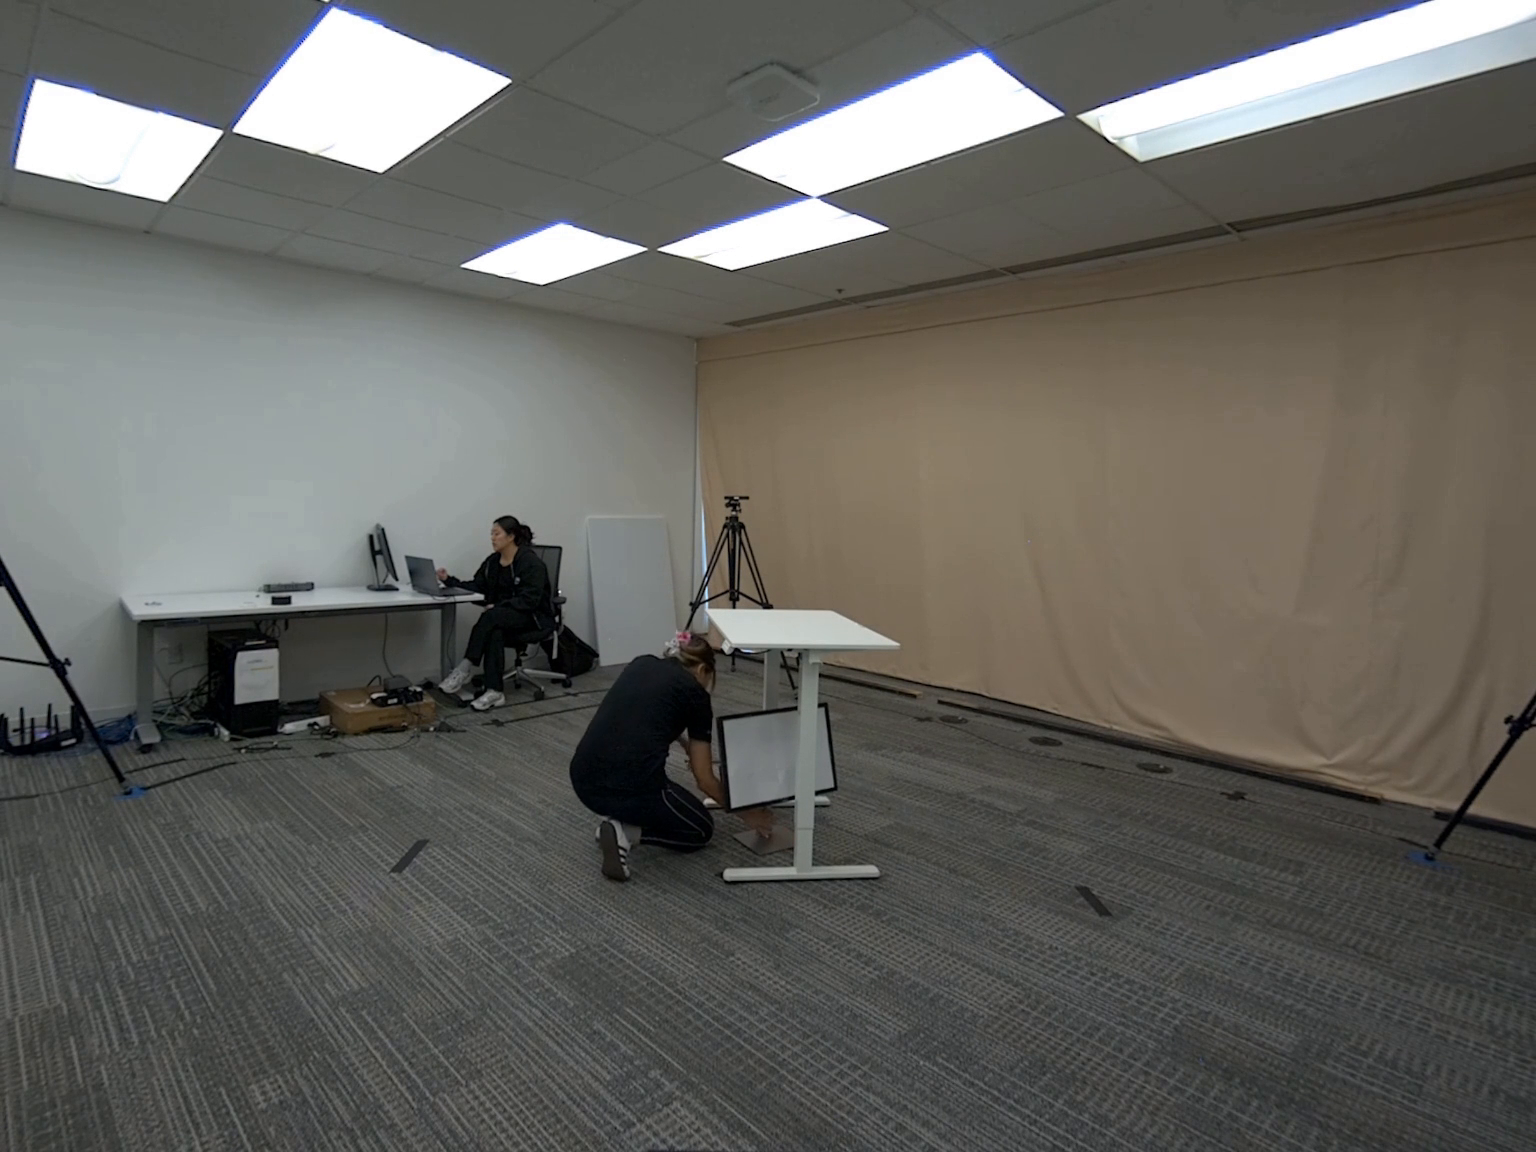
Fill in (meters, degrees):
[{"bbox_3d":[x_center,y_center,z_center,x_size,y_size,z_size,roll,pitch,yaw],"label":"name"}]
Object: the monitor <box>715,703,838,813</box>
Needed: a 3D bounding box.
[{"bbox_3d":[0.013,0.810,3.413,0.527,0.521,0.192,-1,5,-37],"label":"monitor"}]
